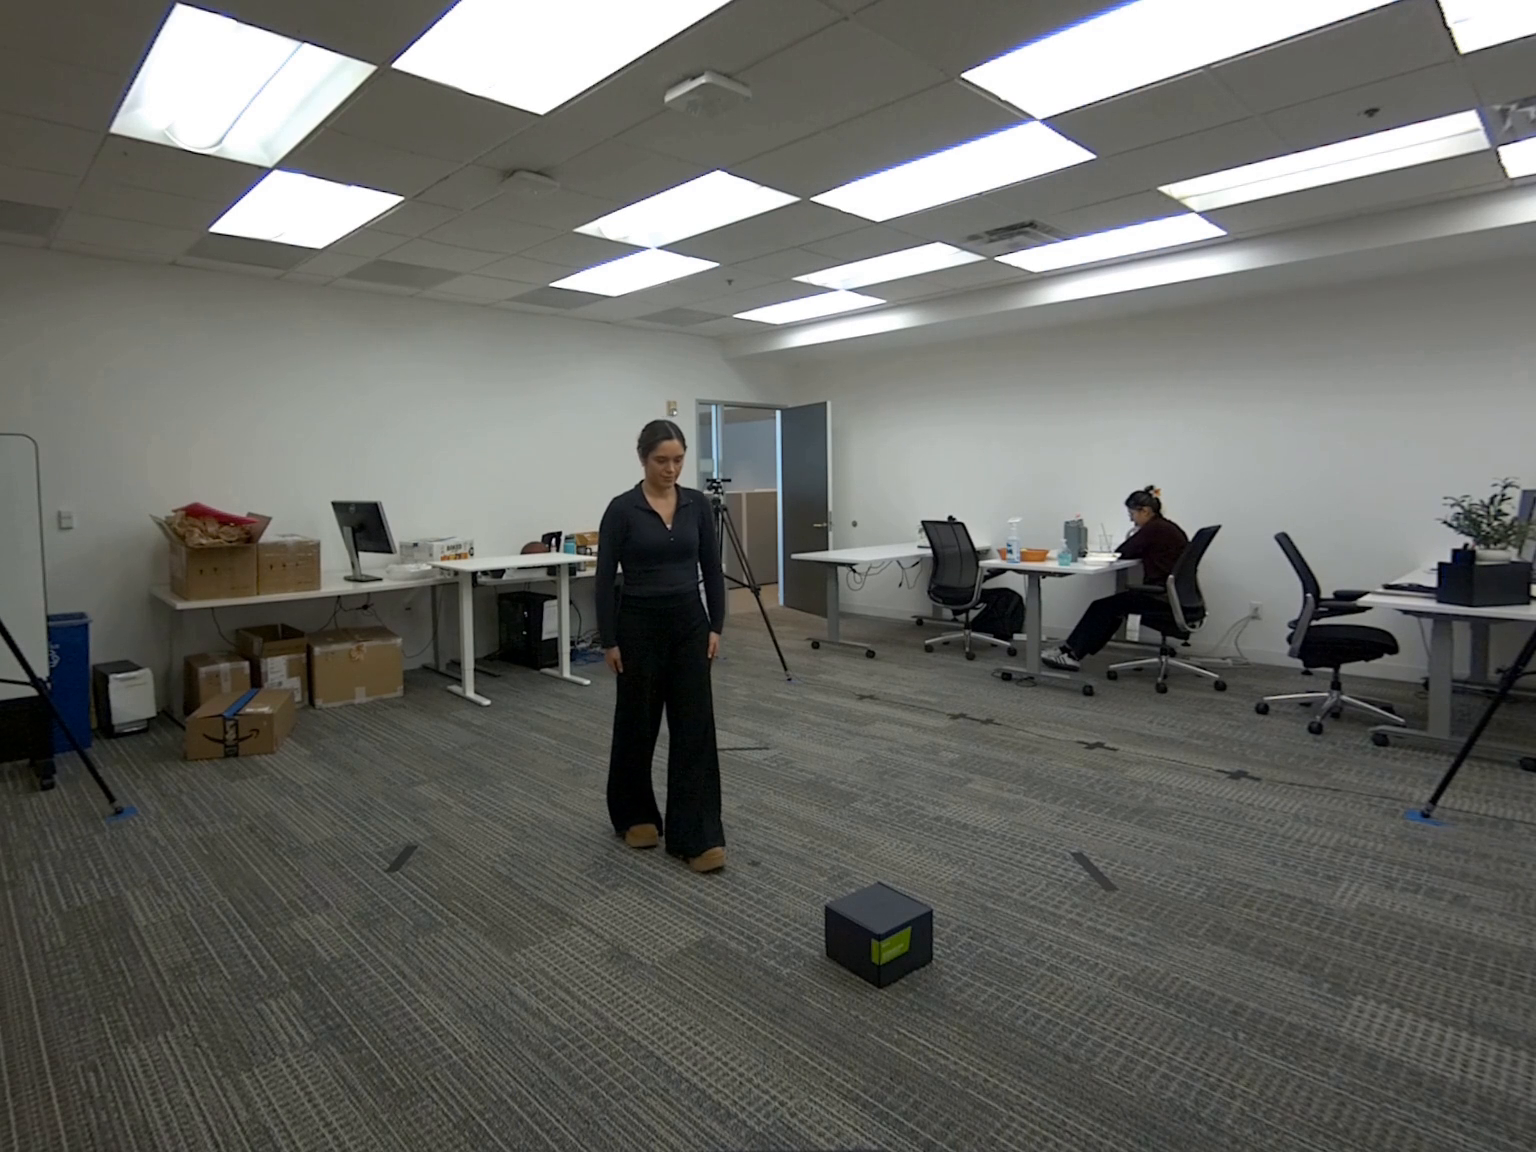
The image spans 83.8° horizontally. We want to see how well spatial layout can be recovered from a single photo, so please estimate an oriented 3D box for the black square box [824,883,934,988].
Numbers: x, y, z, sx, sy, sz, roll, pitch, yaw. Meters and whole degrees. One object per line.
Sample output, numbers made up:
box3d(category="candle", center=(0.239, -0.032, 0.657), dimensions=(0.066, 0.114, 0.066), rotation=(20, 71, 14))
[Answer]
box3d(category="black square box", center=(0.325, 1.029, 2.472), dimensions=(0.222, 0.155, 0.224), rotation=(-5, 8, -39))
